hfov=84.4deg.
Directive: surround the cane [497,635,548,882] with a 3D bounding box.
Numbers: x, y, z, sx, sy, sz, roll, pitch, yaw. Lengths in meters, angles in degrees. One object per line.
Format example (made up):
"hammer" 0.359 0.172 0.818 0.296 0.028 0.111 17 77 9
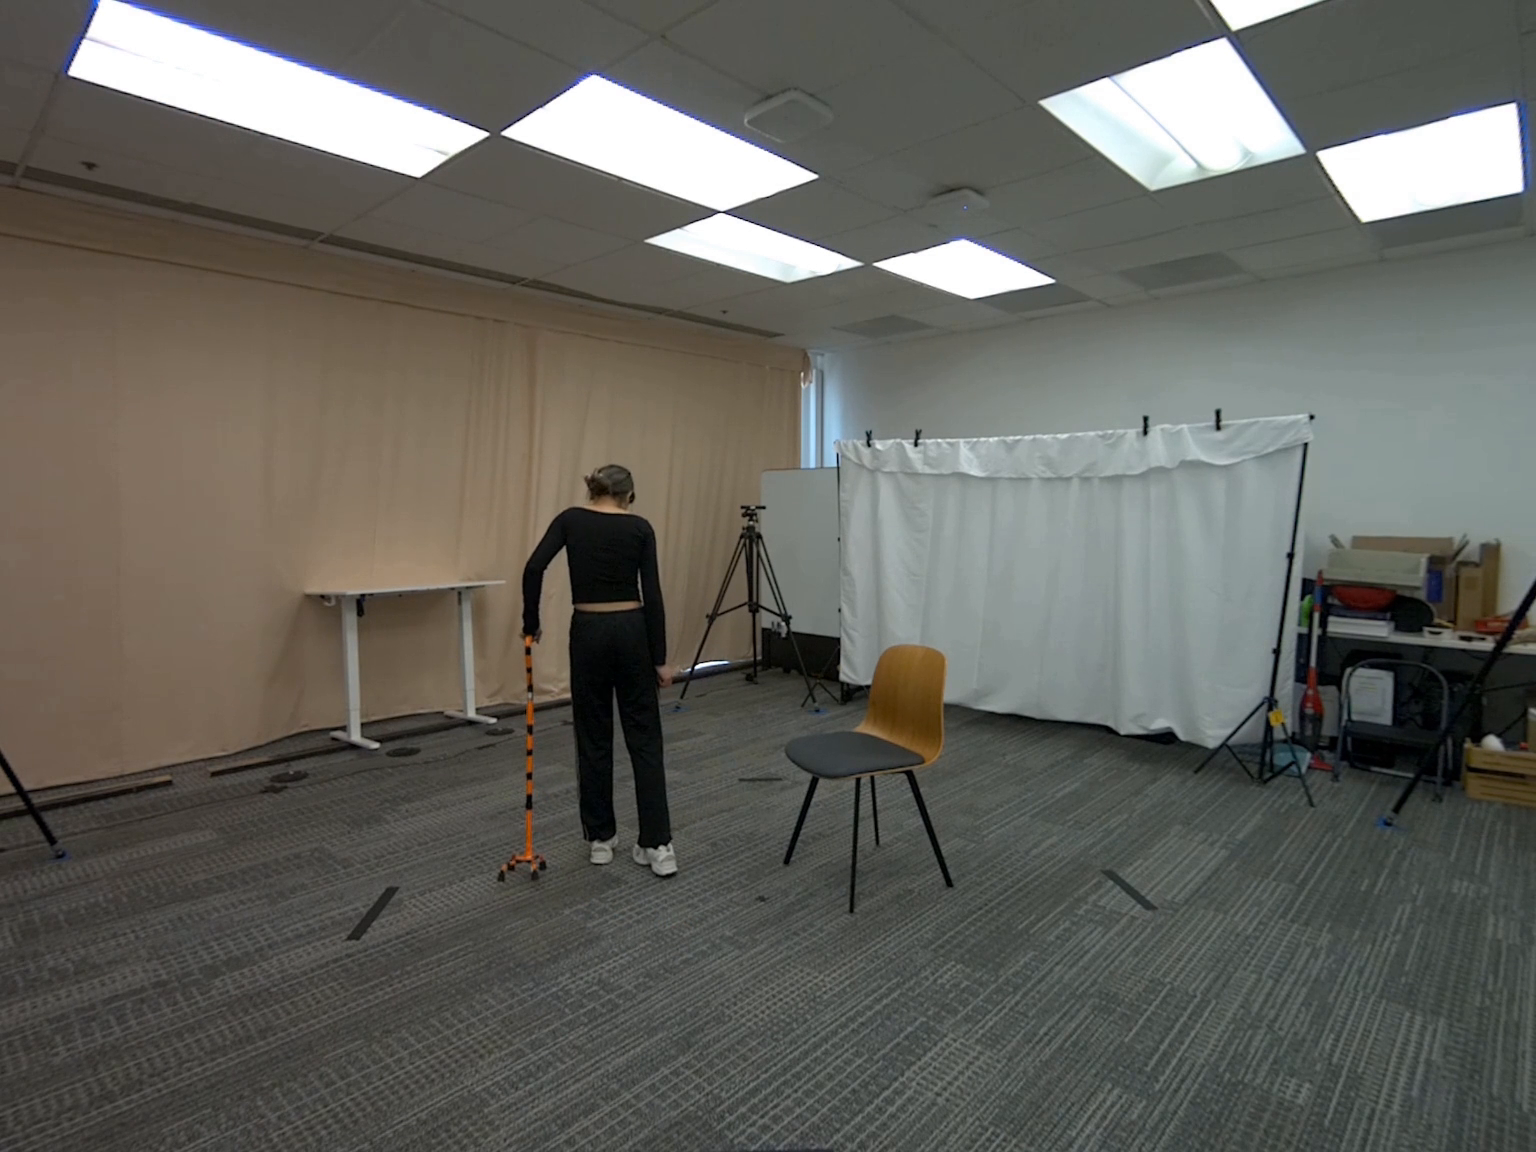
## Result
"cane" -0.928 0.672 3.225 0.151 0.912 0.207 0 -7 -7
